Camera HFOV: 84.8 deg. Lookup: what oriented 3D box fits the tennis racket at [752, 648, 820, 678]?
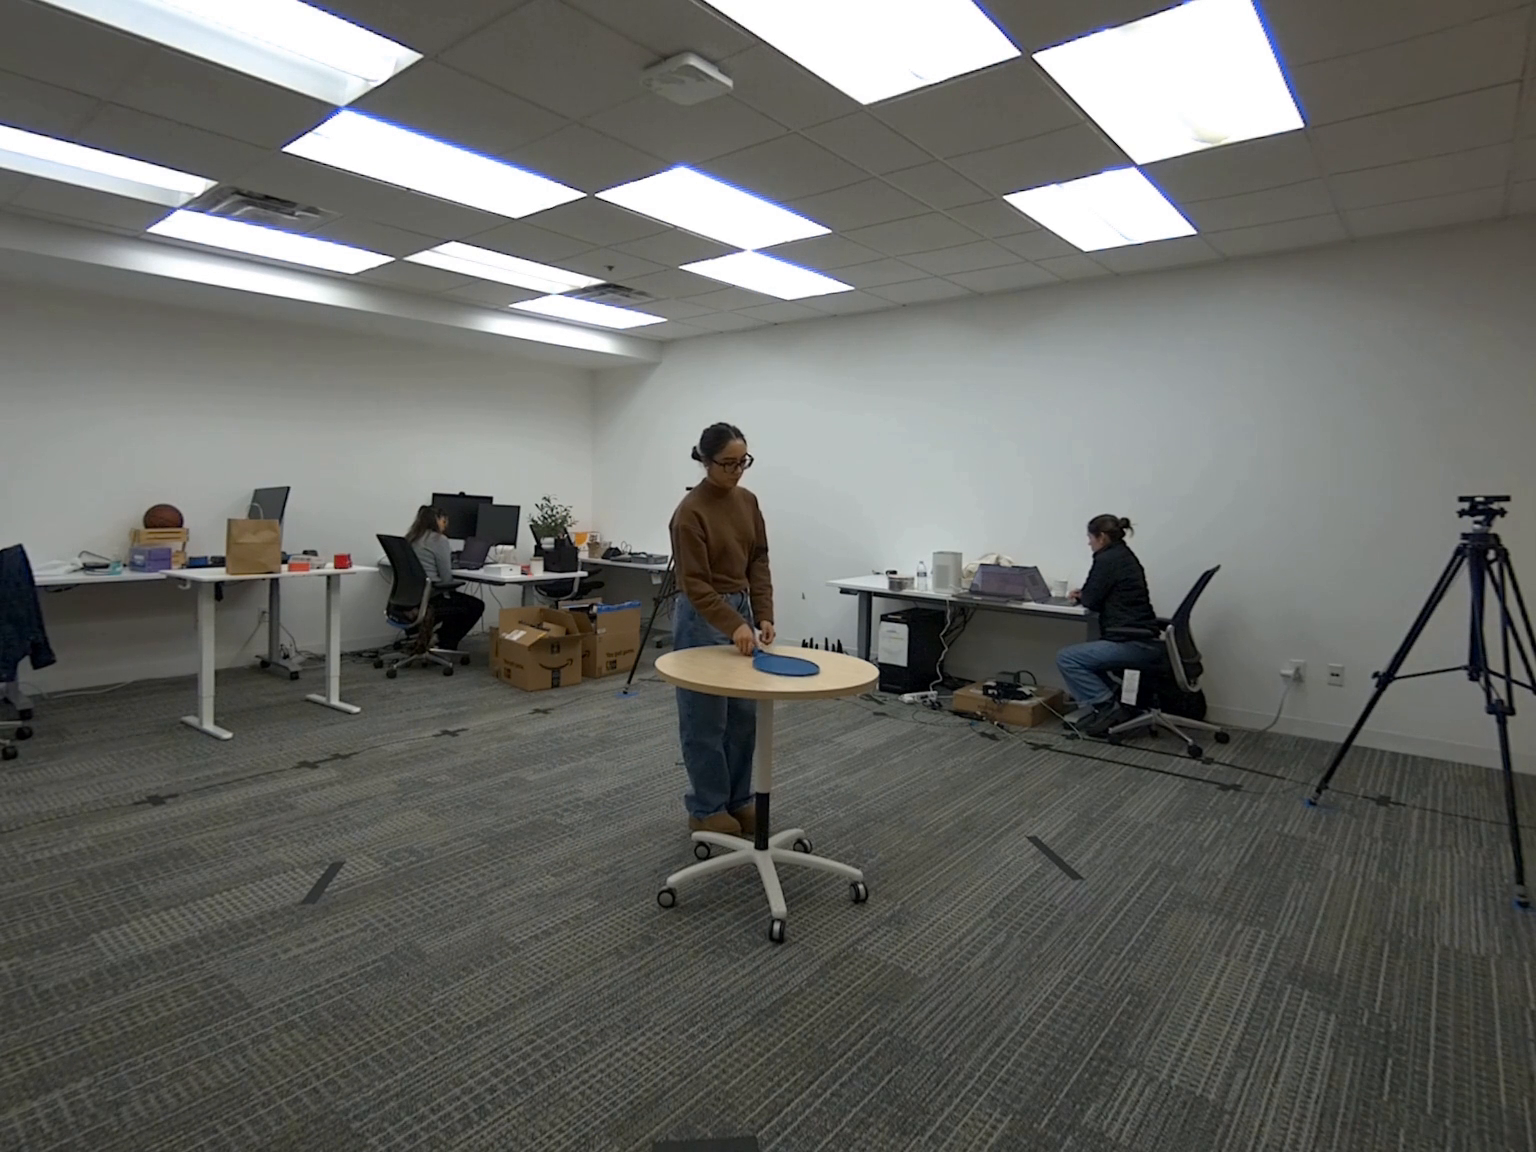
[{"bbox_3d":[0.023,0.285,2.955,0.208,0.031,0.447,-2,9,-28],"label":"tennis racket"}]
